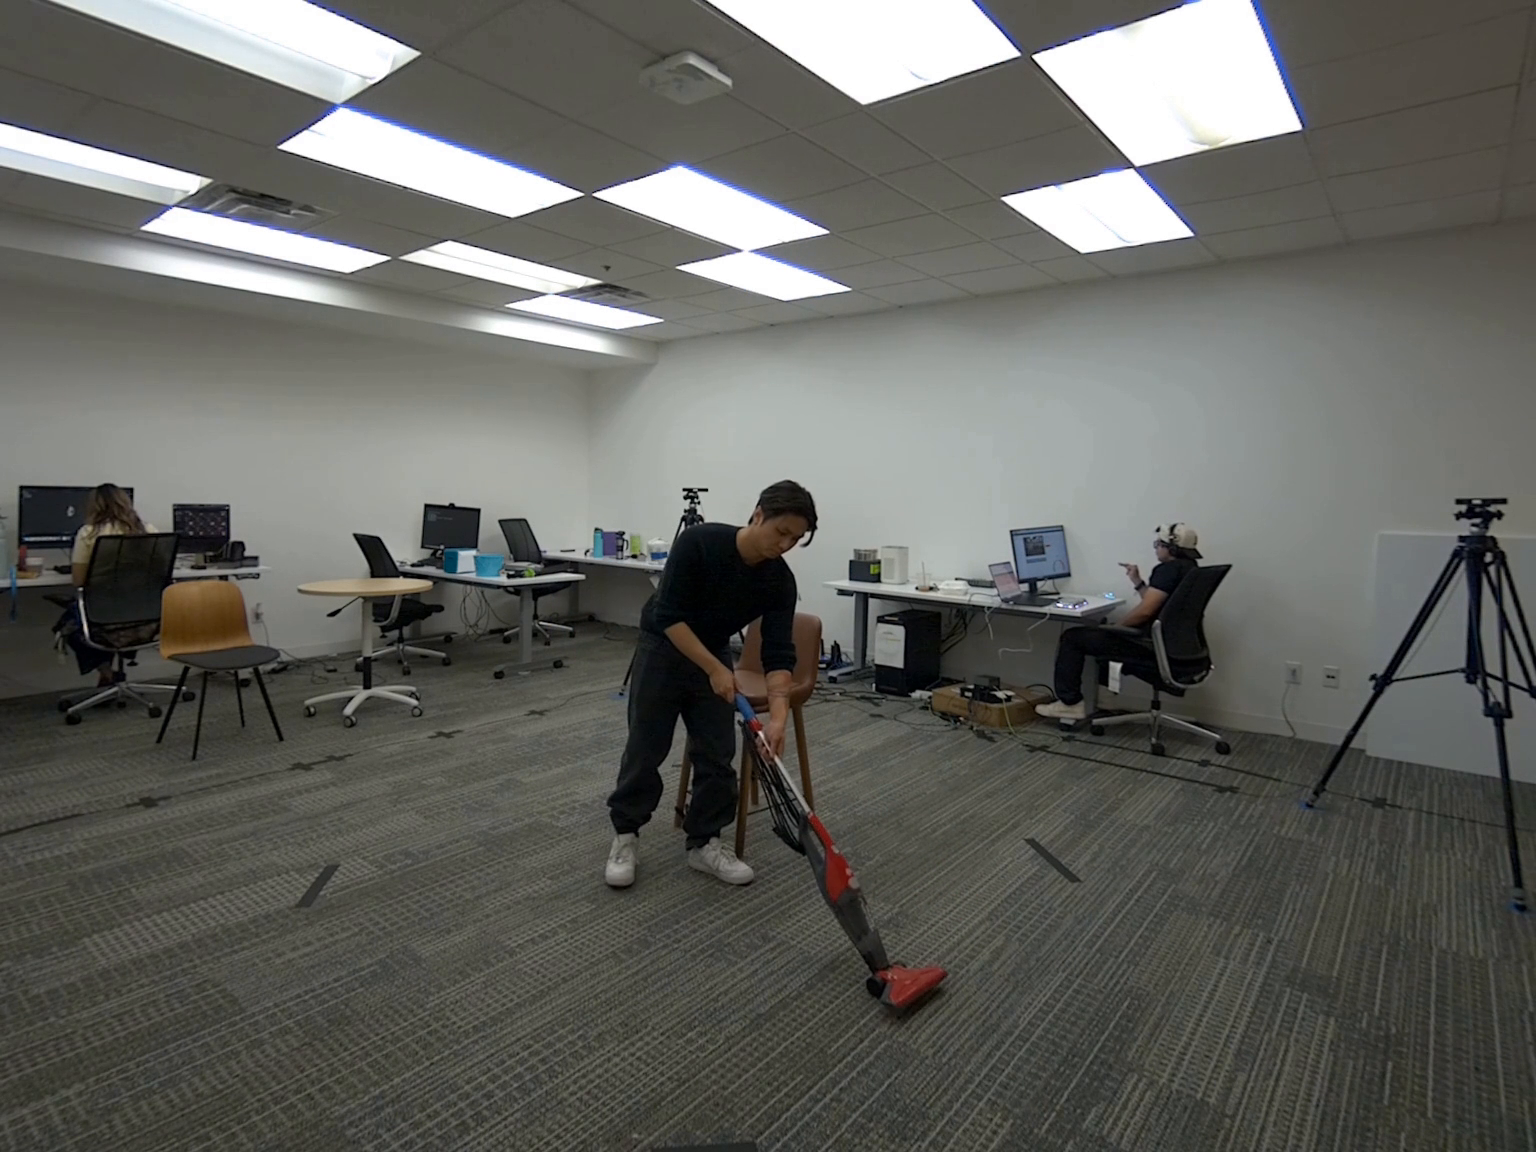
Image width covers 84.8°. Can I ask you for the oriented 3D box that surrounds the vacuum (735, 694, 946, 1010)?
[{"bbox_3d":[0.102,0.749,2.620,0.244,0.143,1.088,3,44,-47],"label":"vacuum"}]
